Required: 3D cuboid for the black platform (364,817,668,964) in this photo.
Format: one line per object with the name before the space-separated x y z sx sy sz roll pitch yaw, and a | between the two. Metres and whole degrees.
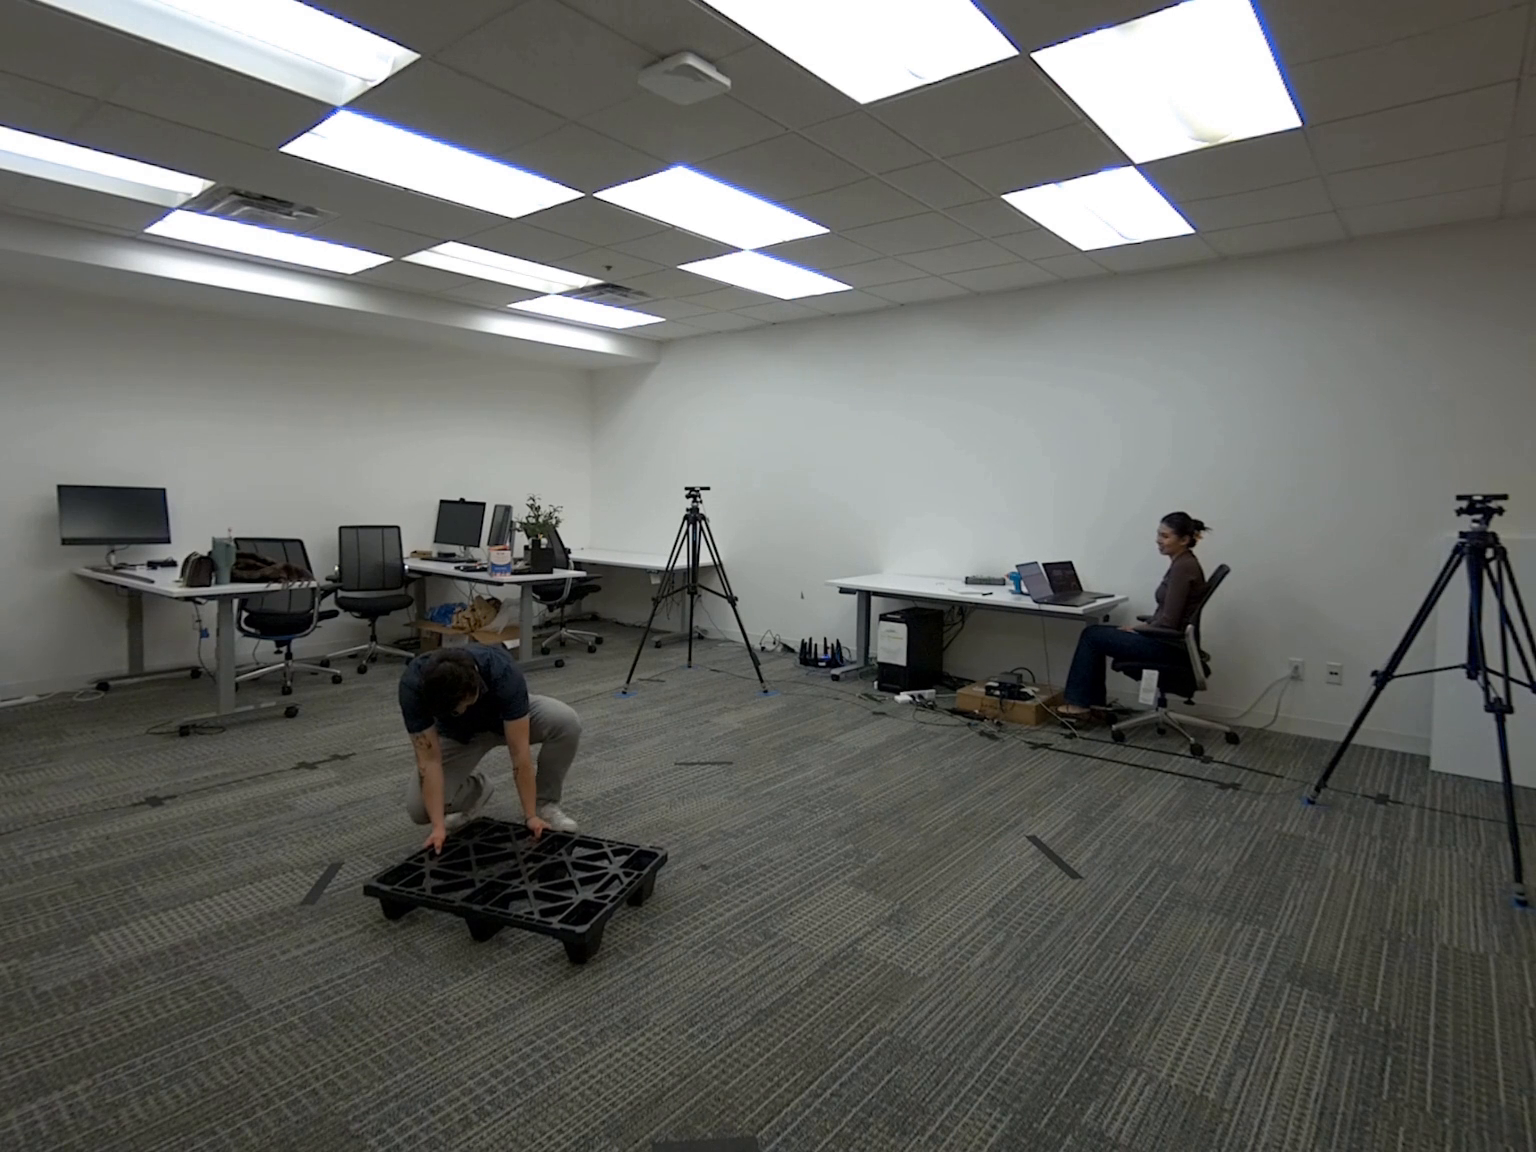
black platform | -0.816 1.020 2.802 0.823 0.142 0.595 2 7 19
